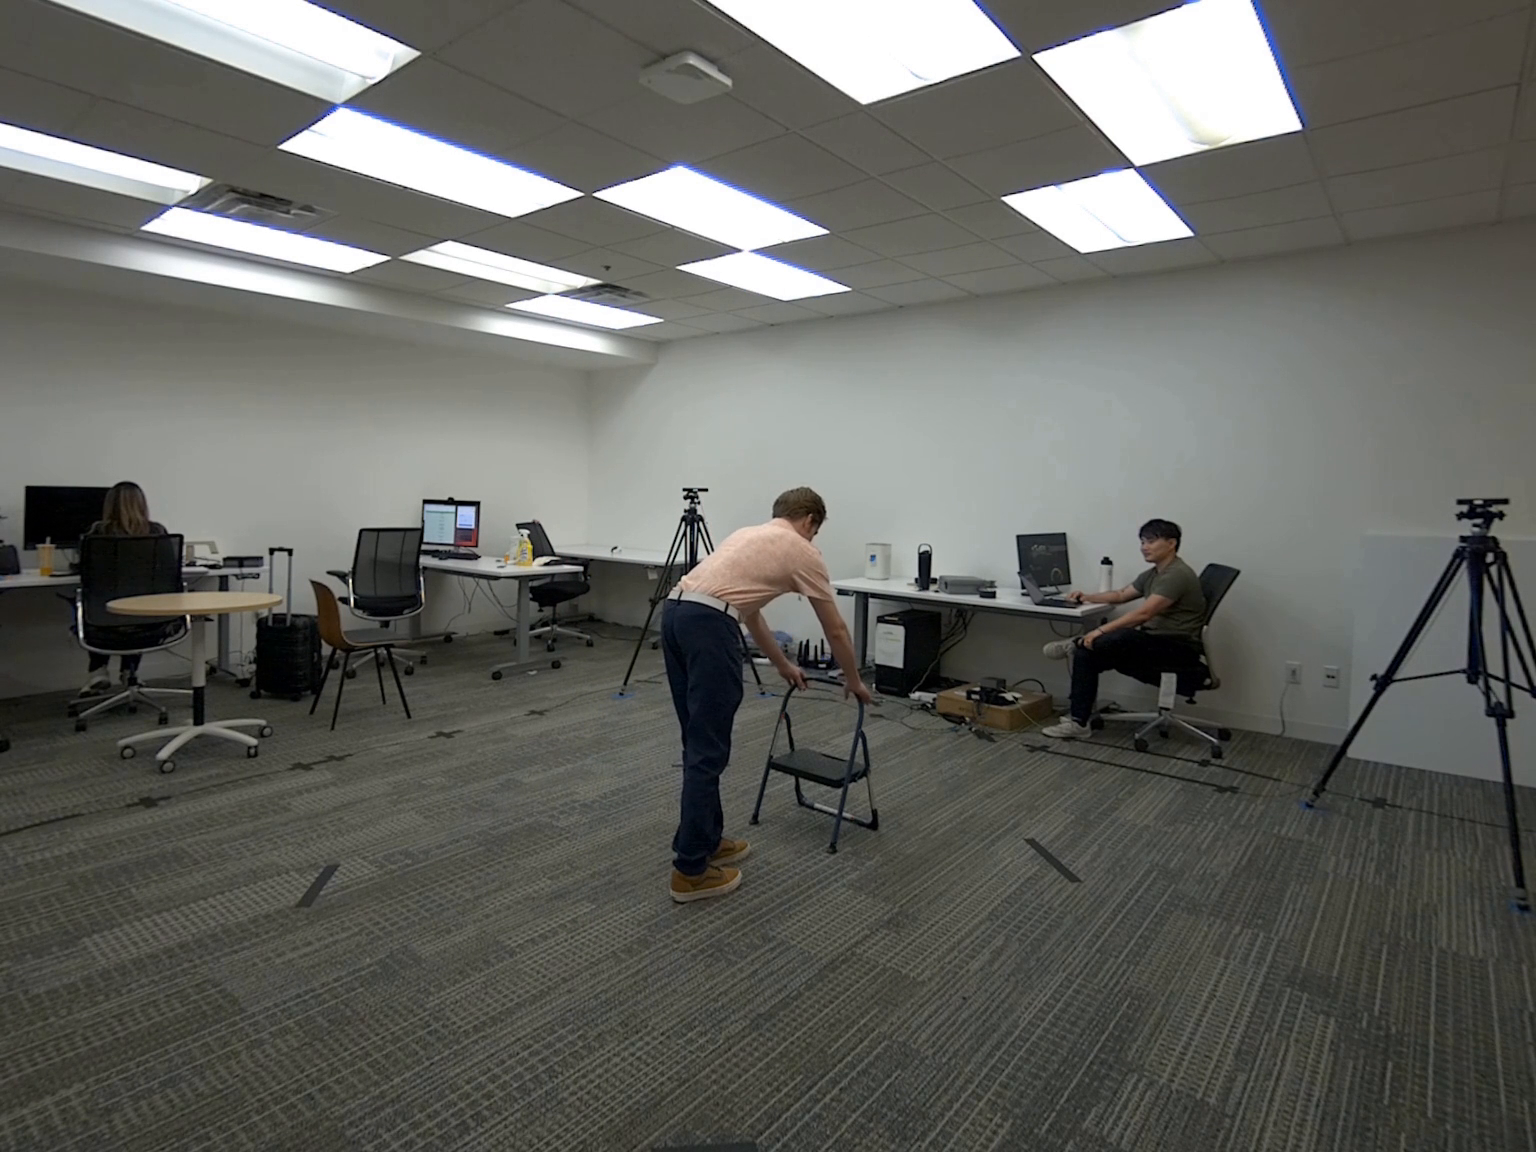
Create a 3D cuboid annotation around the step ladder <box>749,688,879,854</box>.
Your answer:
[{"bbox_3d":[0.190,0.734,3.519,0.445,0.604,0.339,5,5,40],"label":"step ladder"}]
